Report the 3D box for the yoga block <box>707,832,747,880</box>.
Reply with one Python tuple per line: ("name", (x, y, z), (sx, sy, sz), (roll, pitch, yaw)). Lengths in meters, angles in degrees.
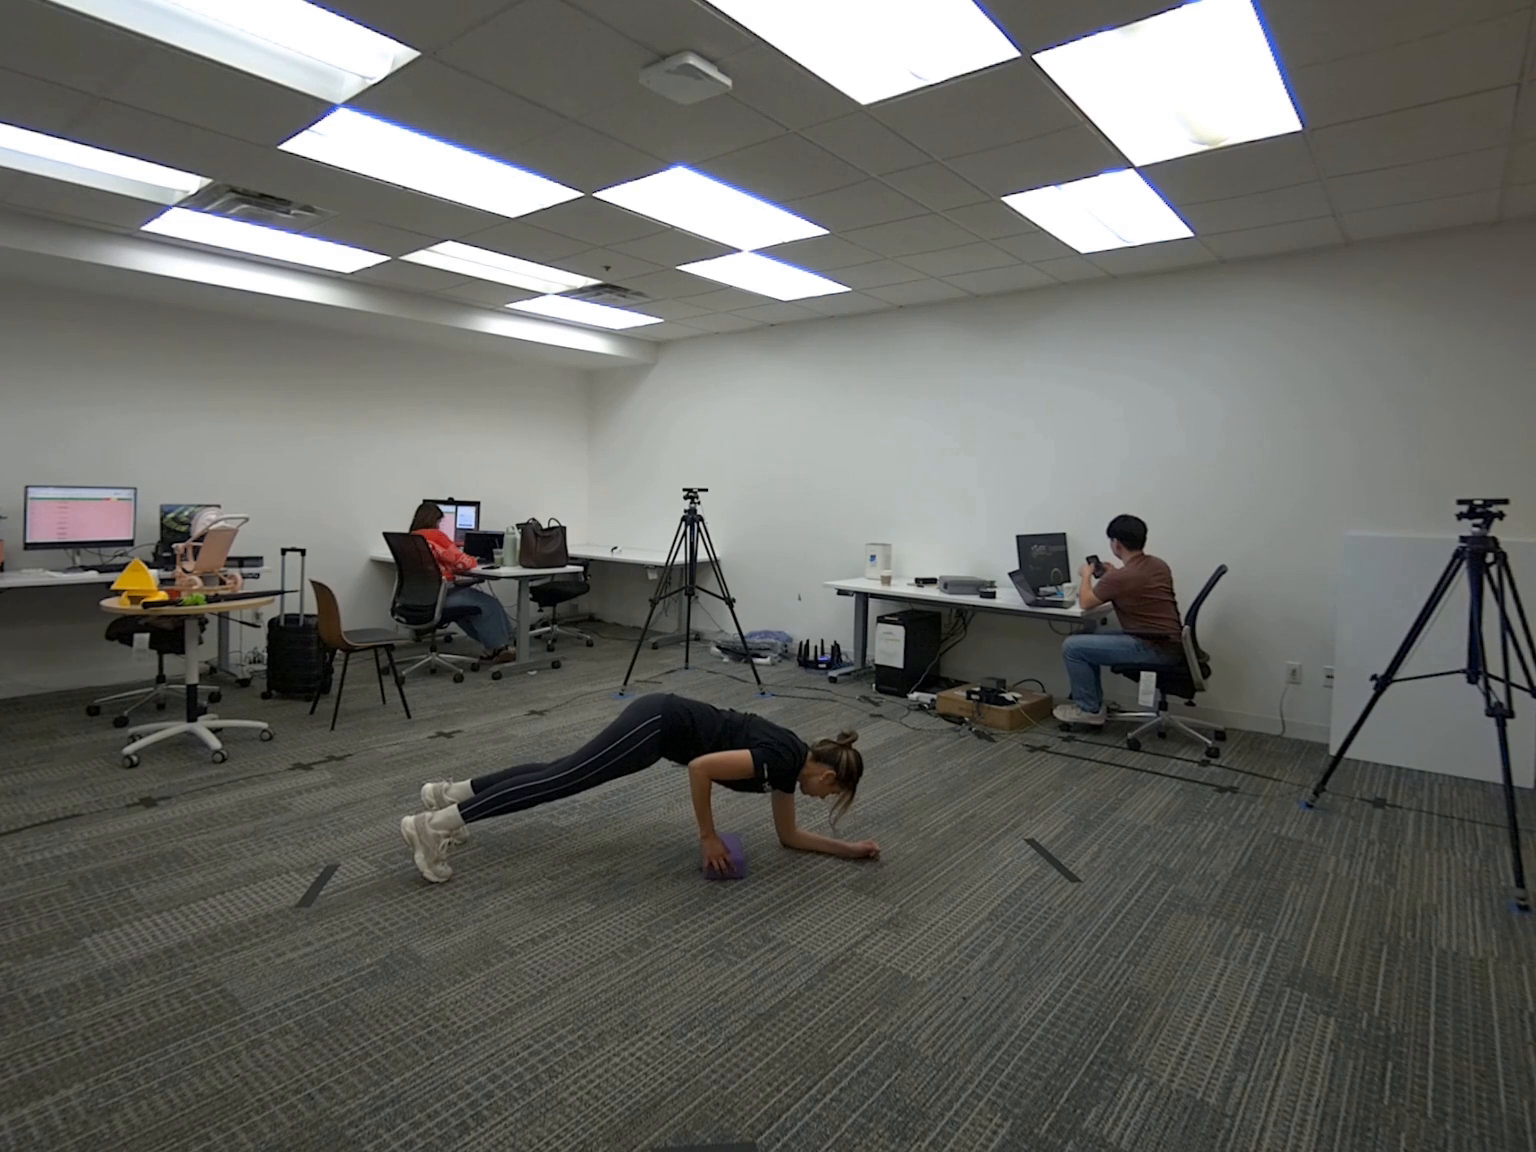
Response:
("yoga block", (-0.180, 1.030, 3.127), (0.148, 0.076, 0.232), (0, 6, -9))
